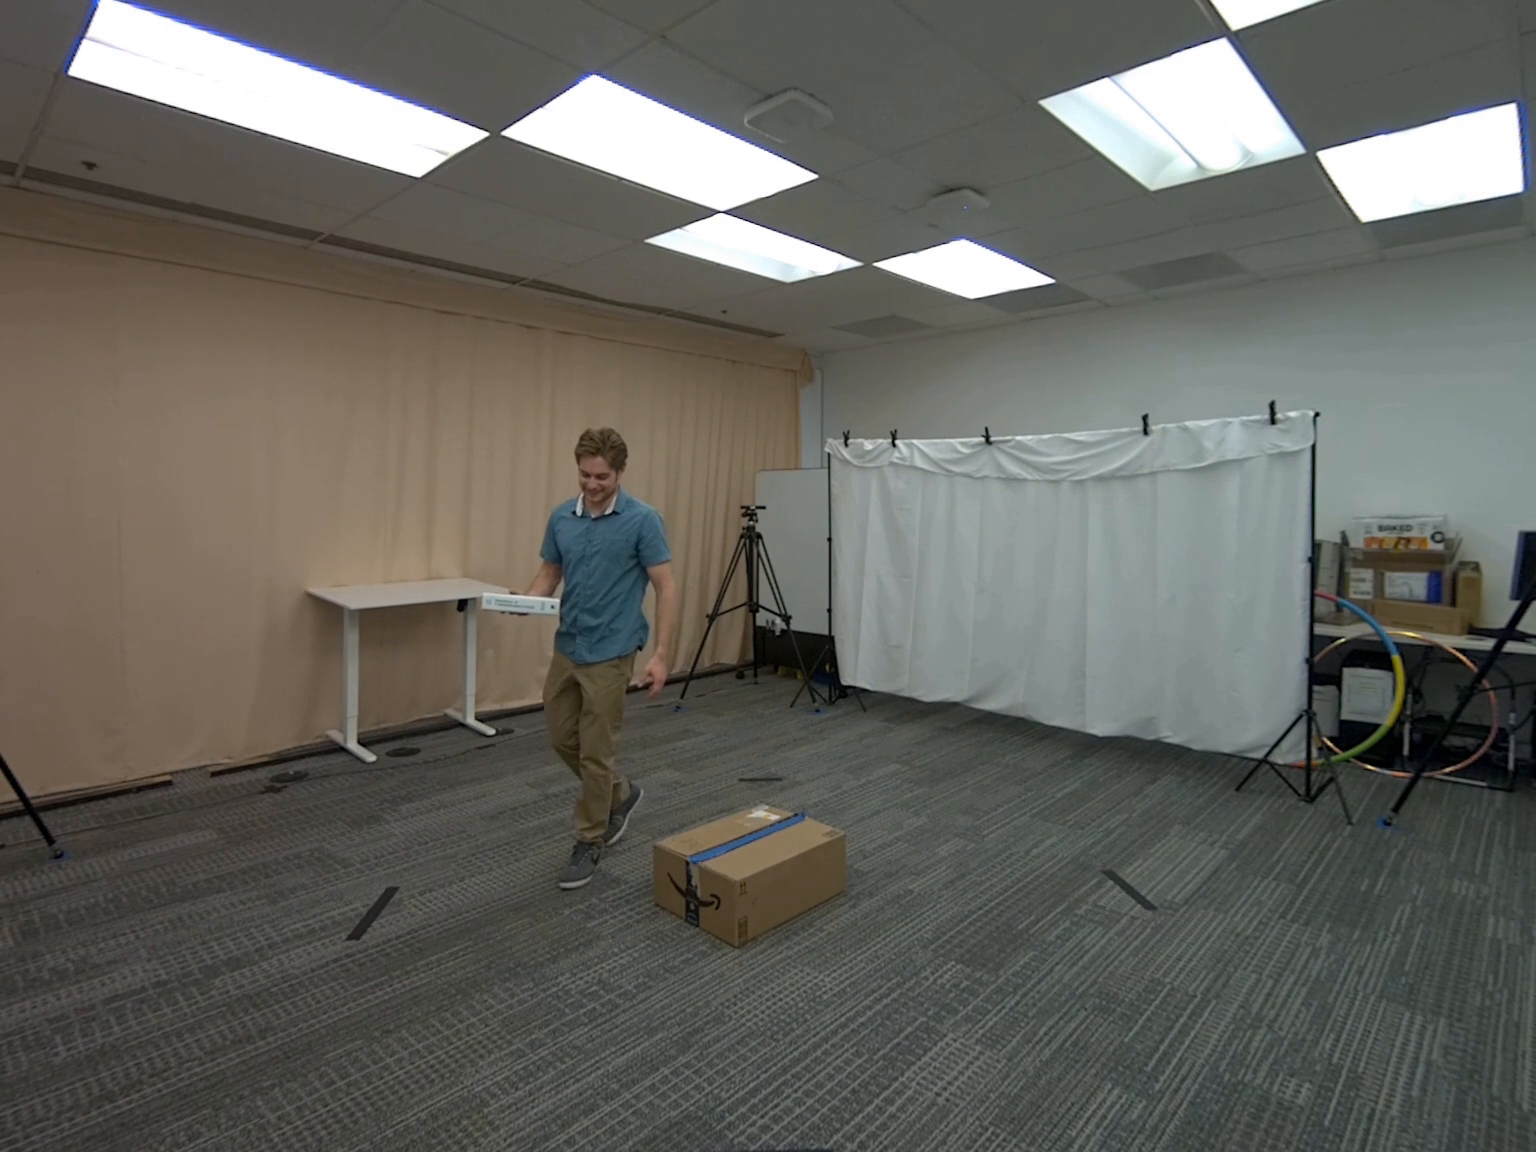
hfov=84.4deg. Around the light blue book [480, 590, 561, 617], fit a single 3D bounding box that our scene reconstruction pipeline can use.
[{"bbox_3d":[-0.871,0.094,2.978,0.257,0.059,0.194,5,-1,-14],"label":"light blue book"}]
